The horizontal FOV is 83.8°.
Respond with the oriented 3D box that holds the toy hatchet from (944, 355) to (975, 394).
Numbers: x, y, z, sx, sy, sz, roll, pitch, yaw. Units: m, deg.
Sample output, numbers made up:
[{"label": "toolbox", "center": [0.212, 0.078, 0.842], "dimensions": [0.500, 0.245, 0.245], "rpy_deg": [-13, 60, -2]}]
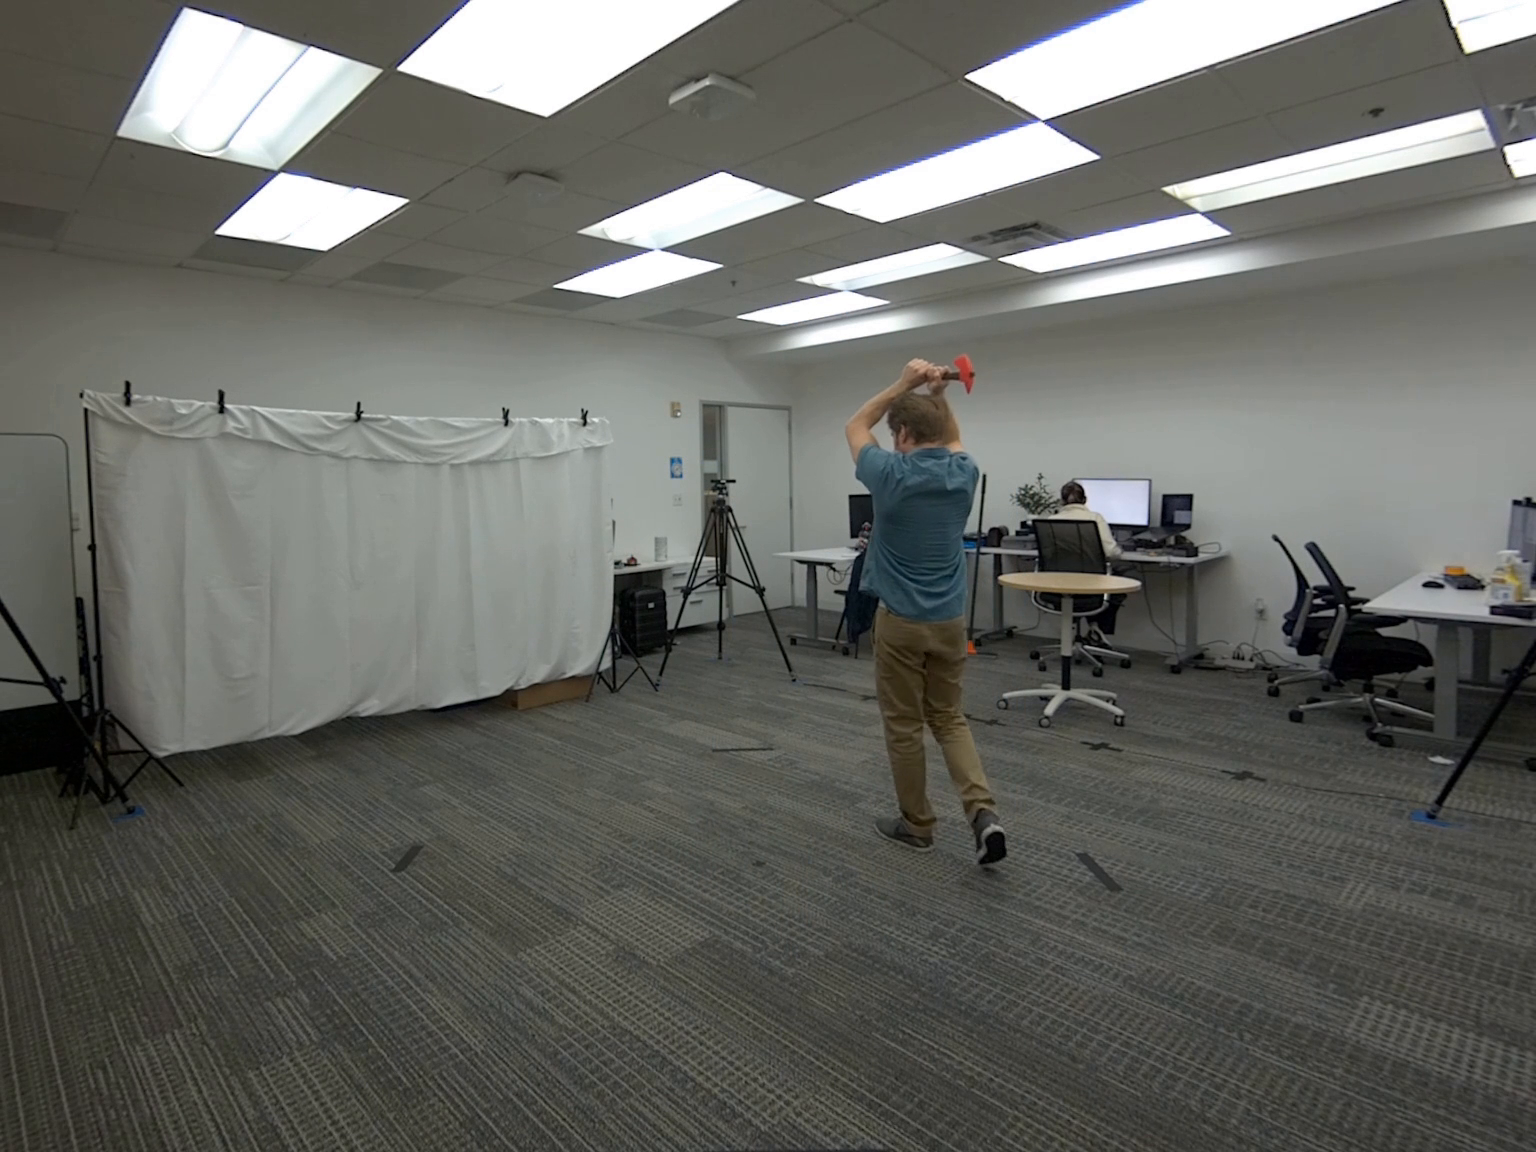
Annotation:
[{"label": "toy hatchet", "center": [0.654, -0.761, 3.101], "dimensions": [0.029, 0.128, 0.281], "rpy_deg": [-17, 36, -25]}]
